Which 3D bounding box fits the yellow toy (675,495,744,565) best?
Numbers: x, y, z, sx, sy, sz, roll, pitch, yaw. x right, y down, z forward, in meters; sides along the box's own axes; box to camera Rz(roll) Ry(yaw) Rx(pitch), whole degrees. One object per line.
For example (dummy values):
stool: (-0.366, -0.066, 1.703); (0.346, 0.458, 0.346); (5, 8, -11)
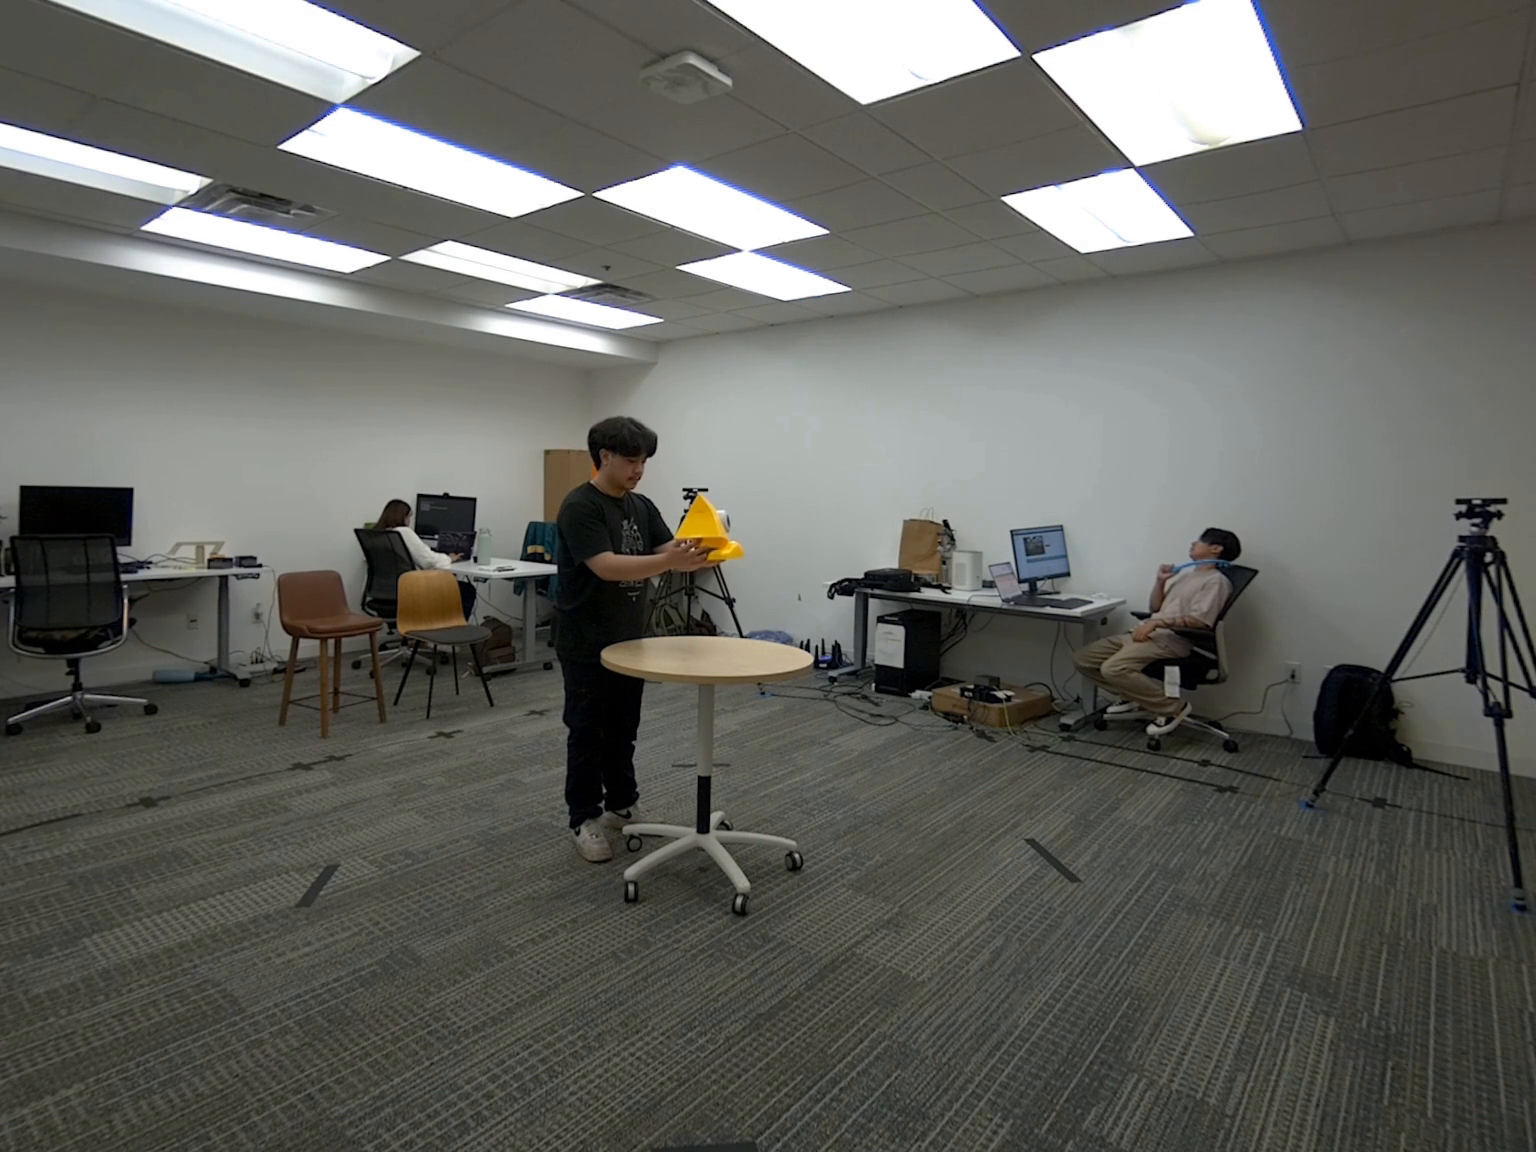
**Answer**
yellow toy: (-0.205, -0.179, 2.992); (0.211, 0.230, 0.188); (-2, 4, 37)
